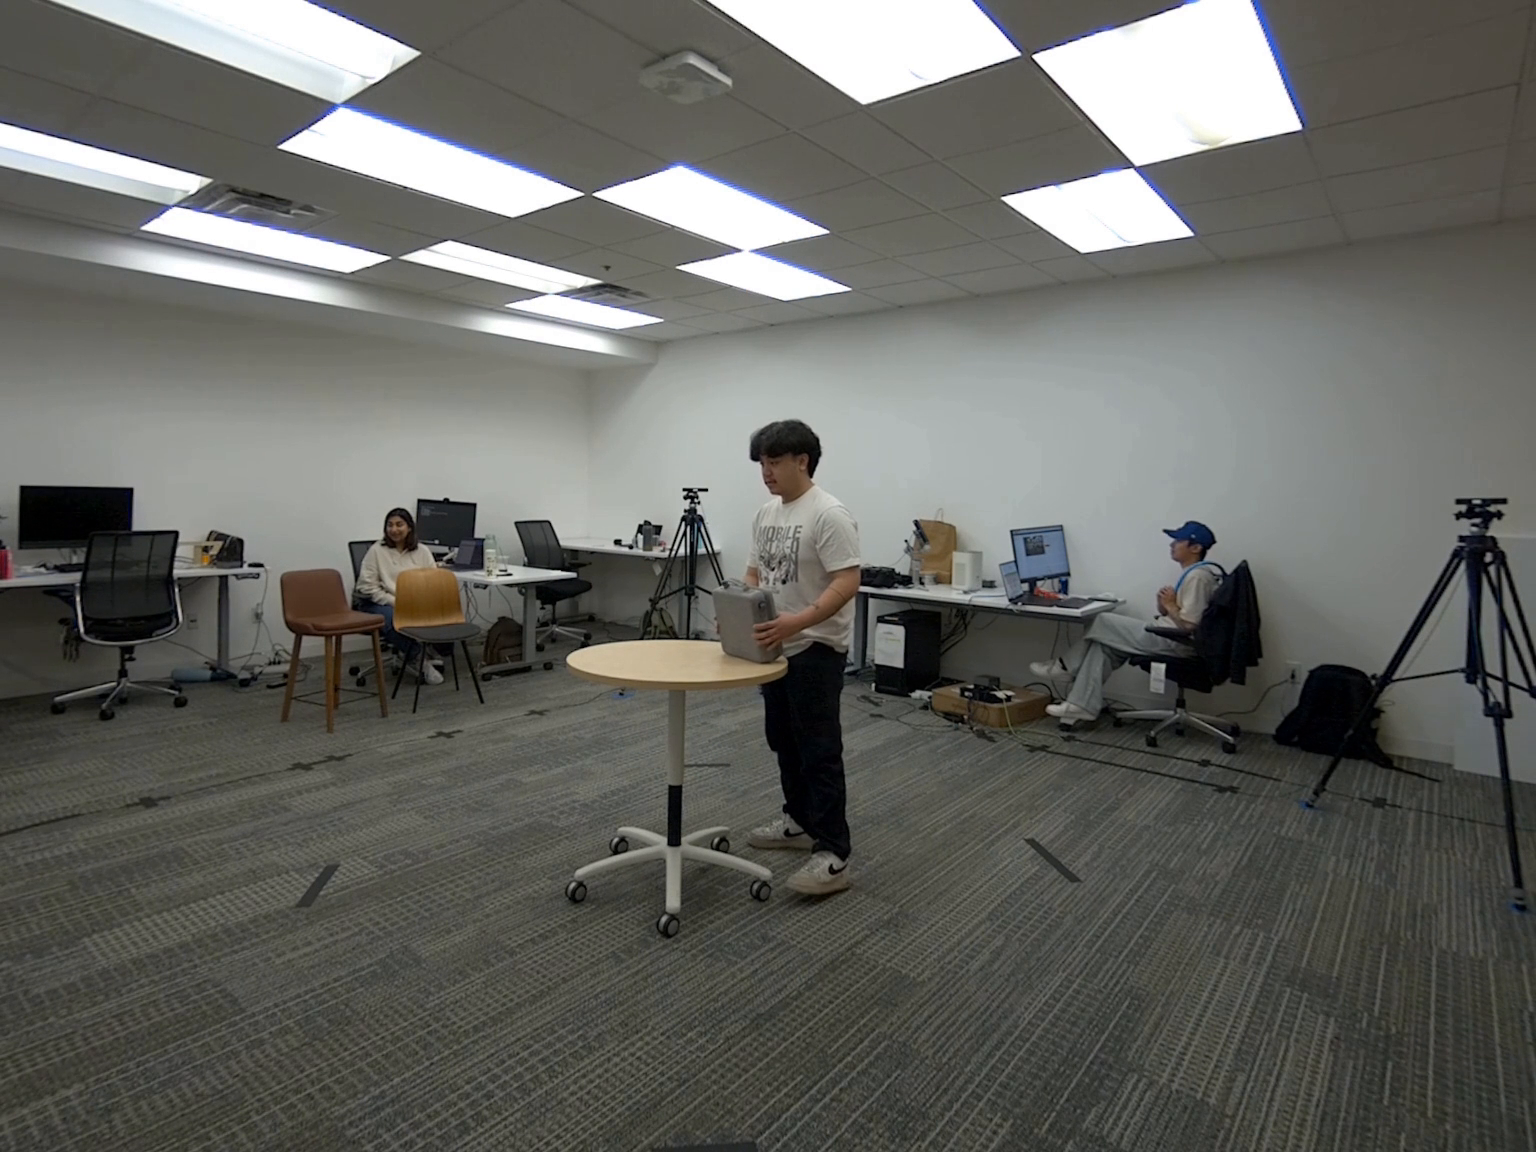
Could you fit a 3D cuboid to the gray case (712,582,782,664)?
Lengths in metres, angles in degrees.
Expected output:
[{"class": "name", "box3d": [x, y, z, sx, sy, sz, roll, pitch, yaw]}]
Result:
[{"class": "gray case", "box3d": [-0.091, 0.154, 2.979, 0.102, 0.258, 0.265, -16, 12, -32]}]
